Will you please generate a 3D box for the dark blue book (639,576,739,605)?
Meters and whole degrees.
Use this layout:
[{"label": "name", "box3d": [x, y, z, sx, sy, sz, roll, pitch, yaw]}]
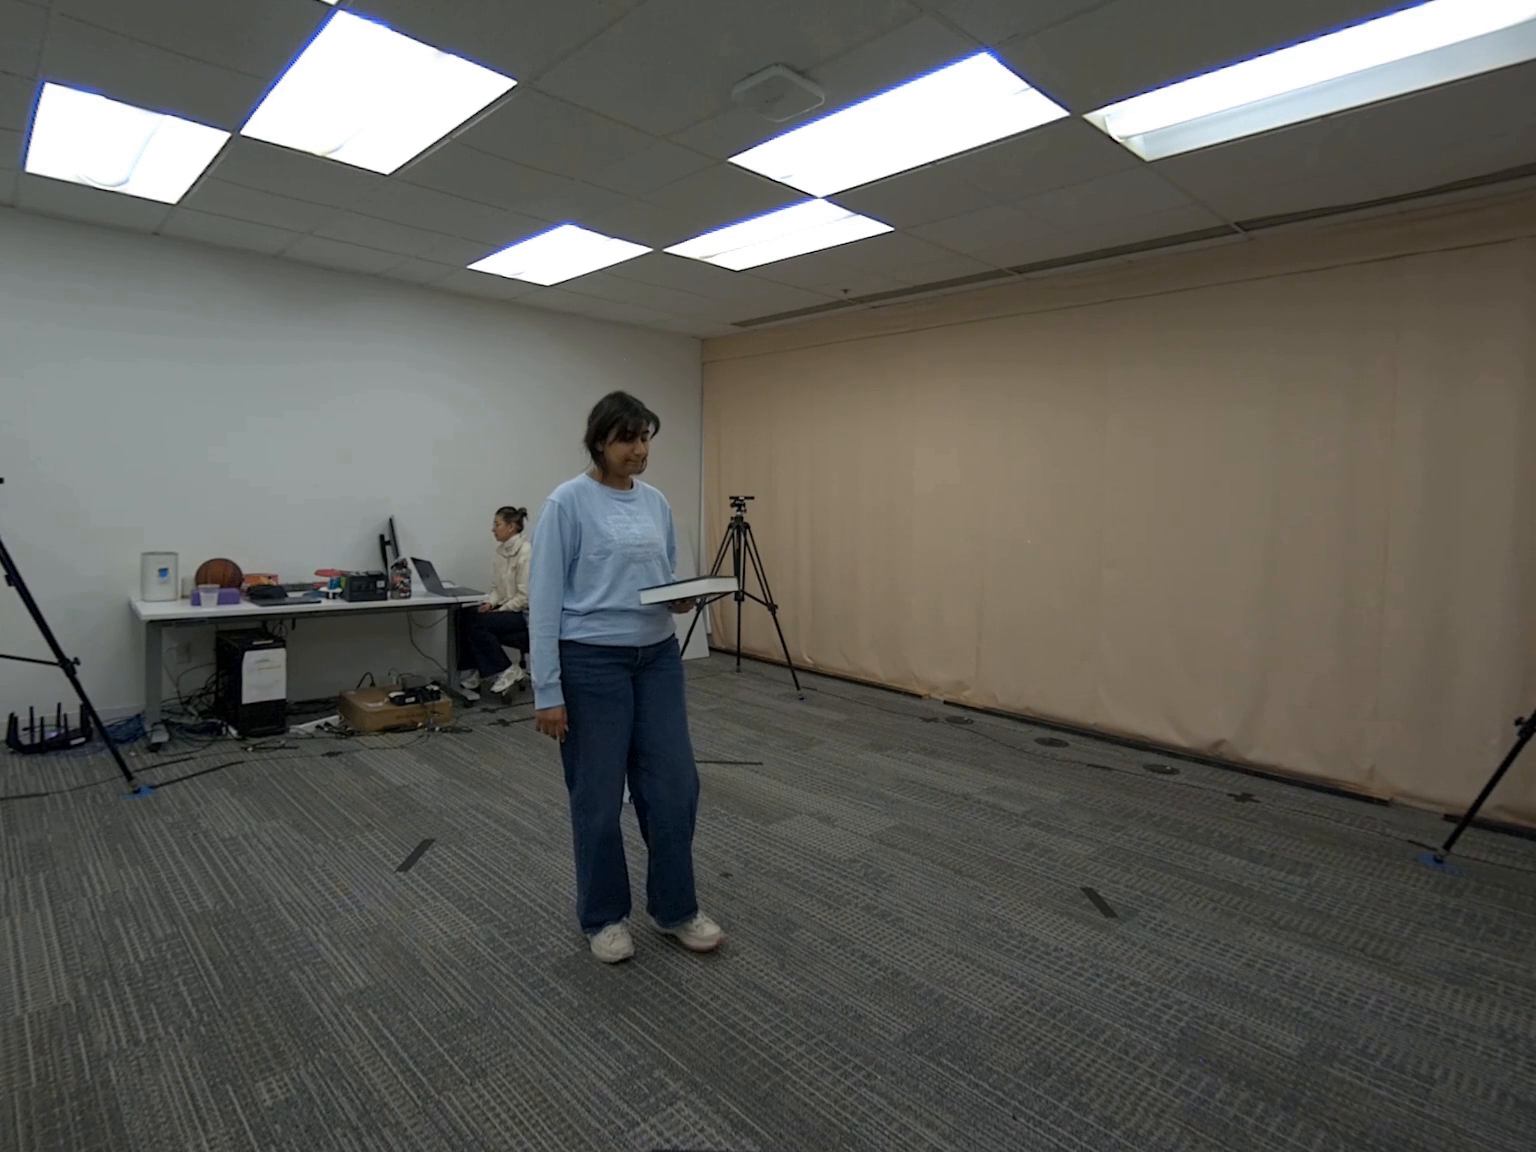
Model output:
[{"label": "dark blue book", "box3d": [-0.227, 0.044, 2.382, 0.249, 0.045, 0.160, -9, -5, 30]}]
